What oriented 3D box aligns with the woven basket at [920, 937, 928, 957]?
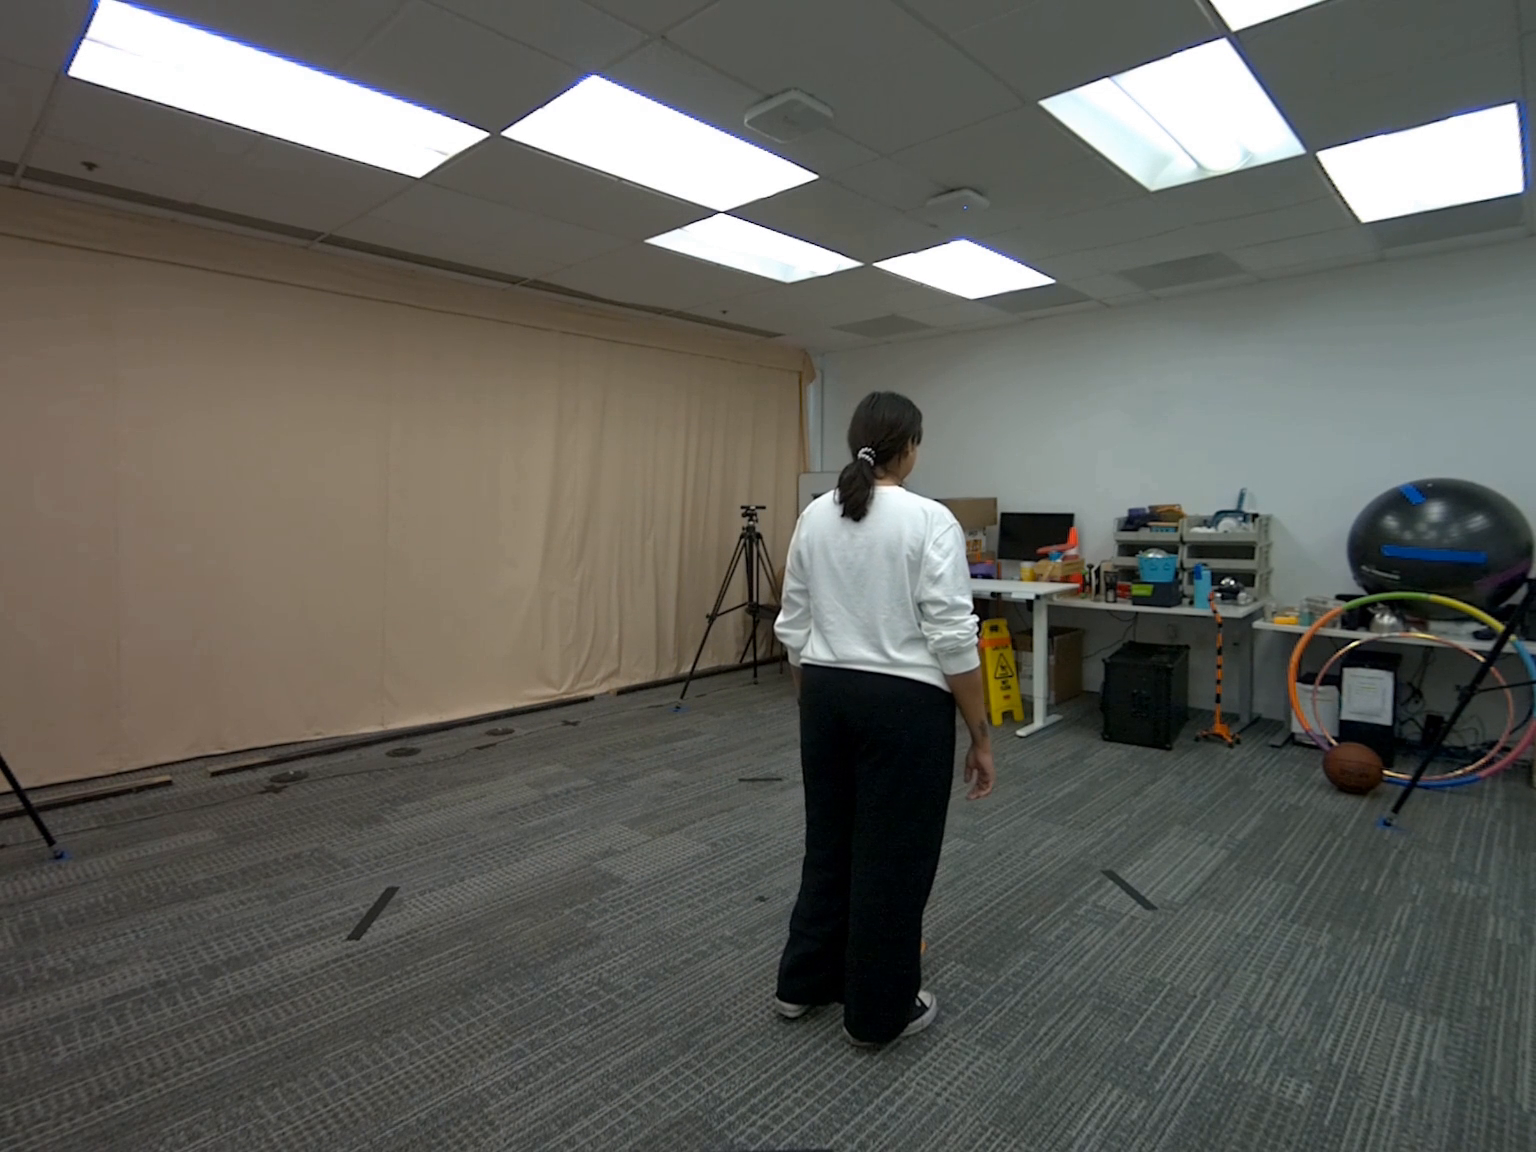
[{"bbox_3d":[0.339,1.133,2.617,0.247,0.073,0.358,-1,5,-20],"label":"woven basket"}]
